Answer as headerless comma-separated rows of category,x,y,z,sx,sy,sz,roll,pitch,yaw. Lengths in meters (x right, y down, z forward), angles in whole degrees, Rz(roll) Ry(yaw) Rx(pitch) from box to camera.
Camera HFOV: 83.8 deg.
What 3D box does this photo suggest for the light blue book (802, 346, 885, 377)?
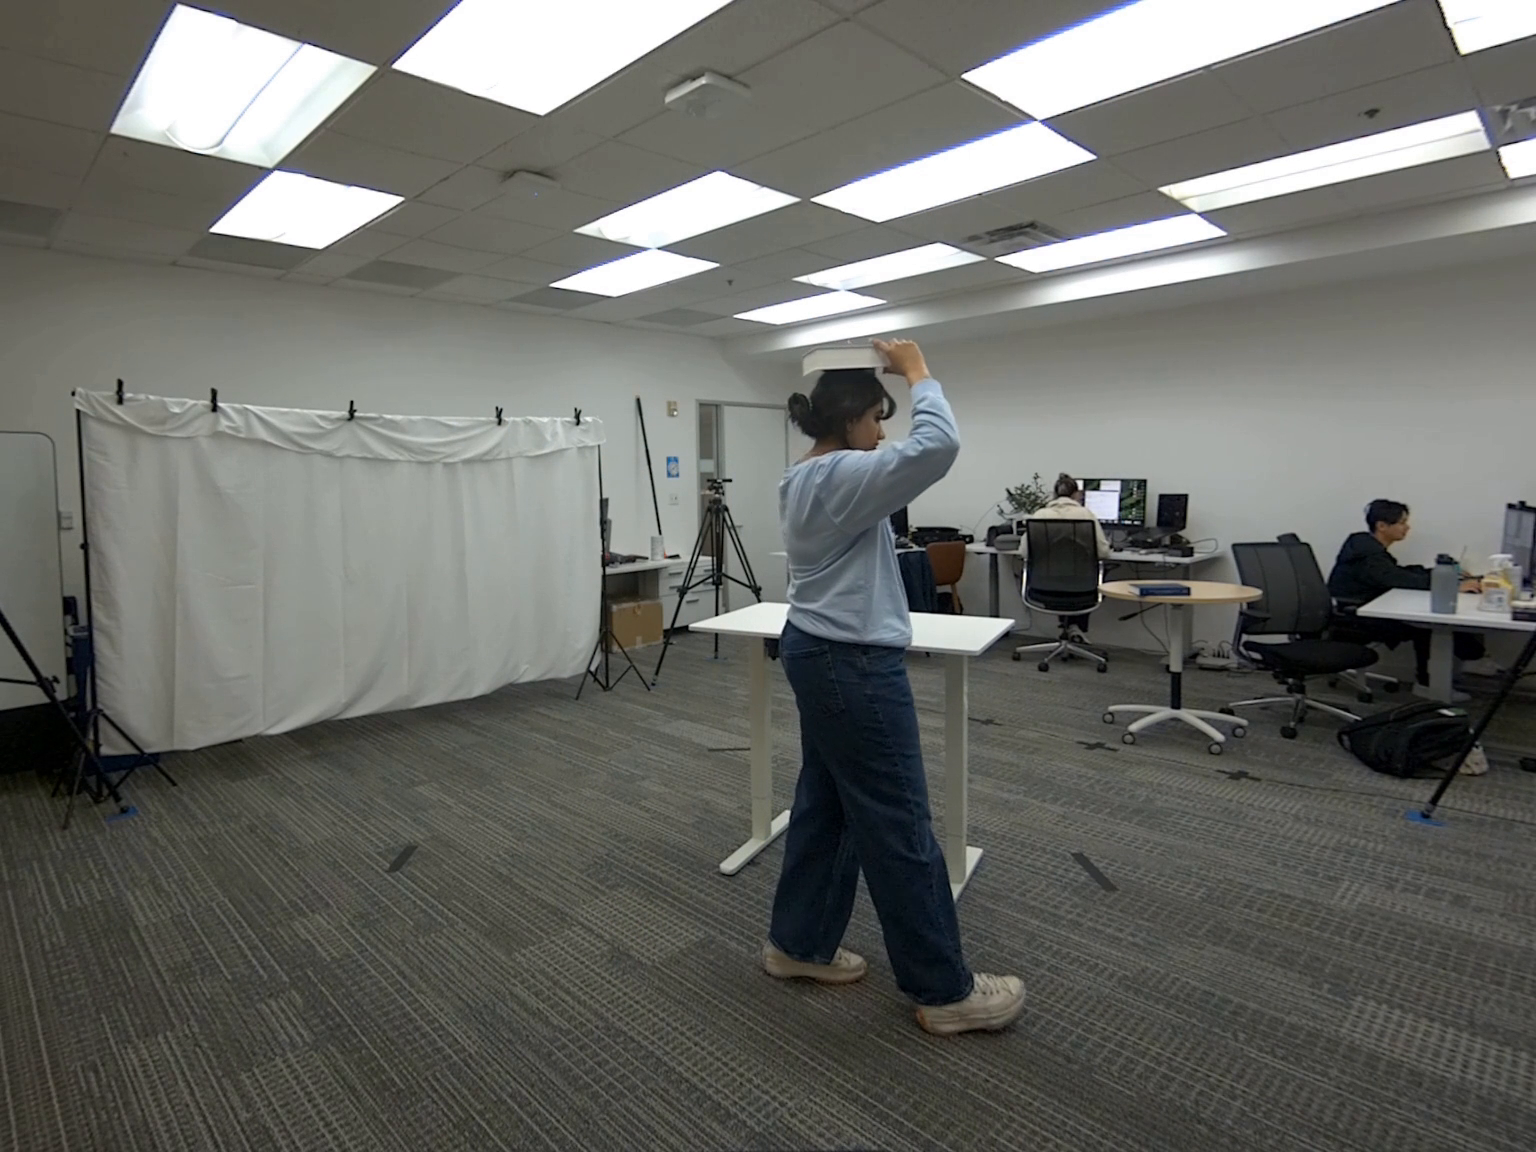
light blue book,0.253,-0.577,2.245,0.259,0.059,0.193,-1,7,-7
